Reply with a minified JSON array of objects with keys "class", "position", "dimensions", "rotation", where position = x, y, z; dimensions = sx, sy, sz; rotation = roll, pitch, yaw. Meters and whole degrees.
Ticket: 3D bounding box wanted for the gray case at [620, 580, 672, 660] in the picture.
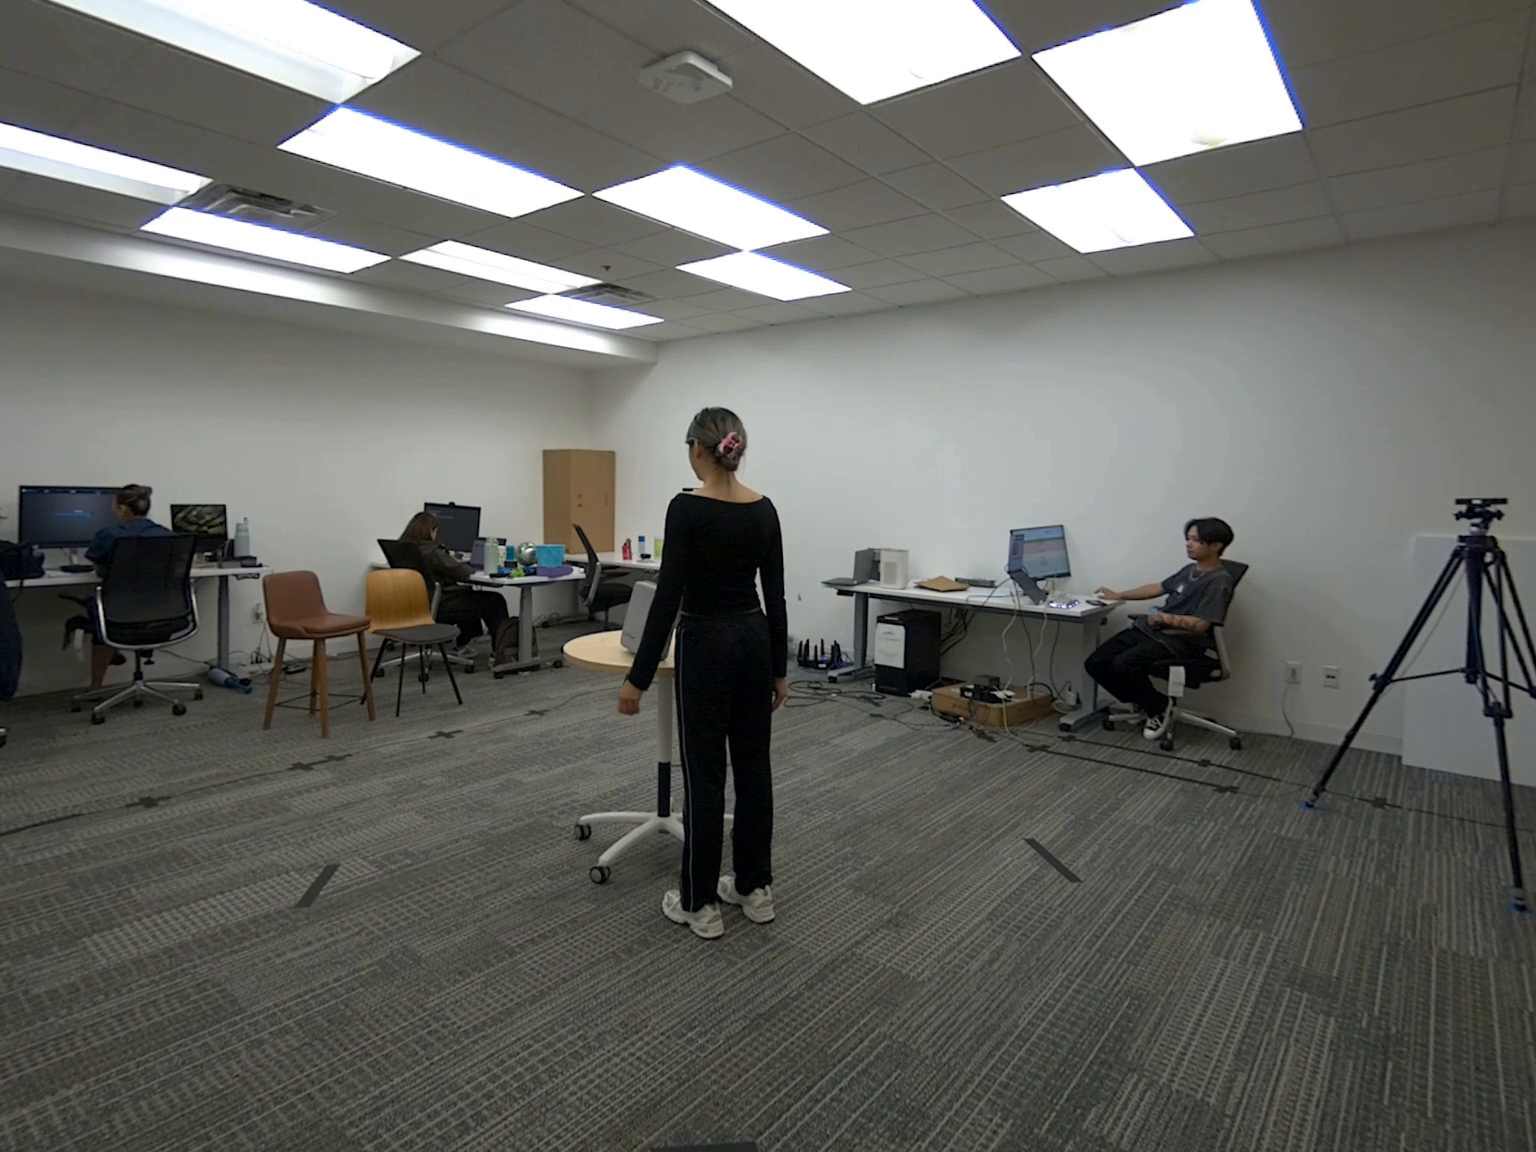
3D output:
[{"class":"gray case","position":[-0.431,0.151,3.046],"dimensions":[0.101,0.261,0.264],"rotation":[12,-1,-28]}]
